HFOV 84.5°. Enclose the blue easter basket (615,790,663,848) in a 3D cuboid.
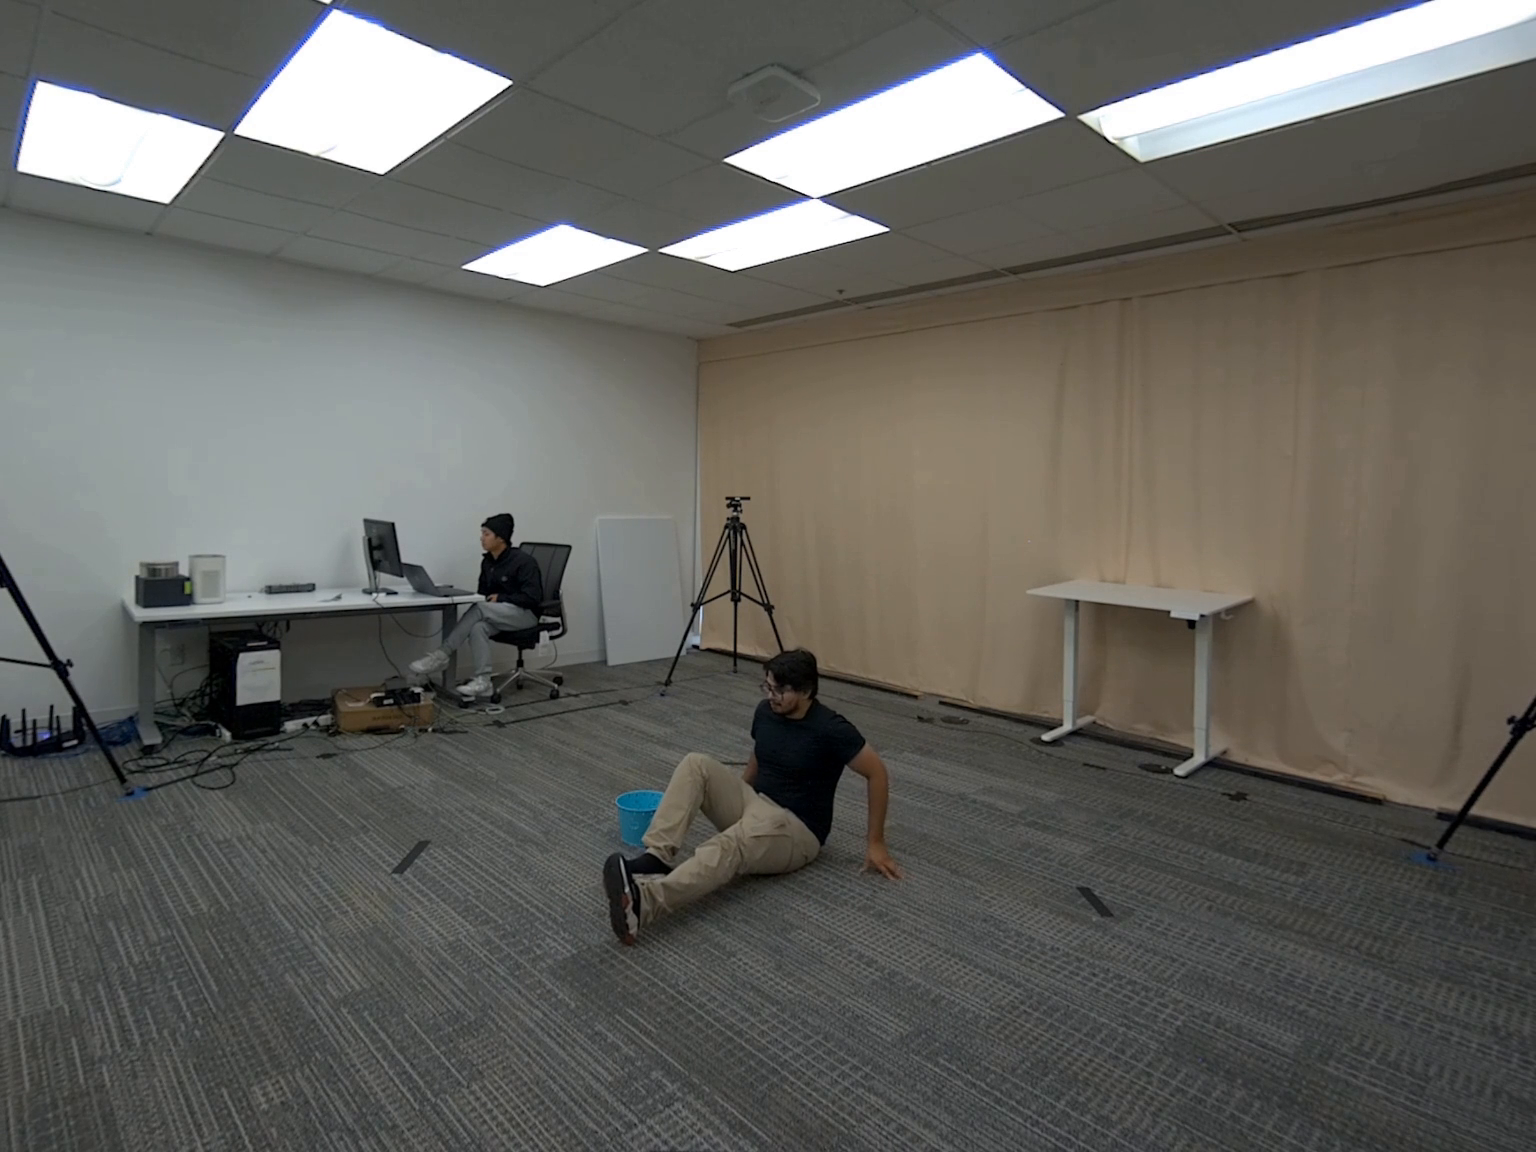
[{"bbox_3d":[-0.506,0.985,3.447,0.243,0.155,0.244,1,5,-1],"label":"blue easter basket"}]
